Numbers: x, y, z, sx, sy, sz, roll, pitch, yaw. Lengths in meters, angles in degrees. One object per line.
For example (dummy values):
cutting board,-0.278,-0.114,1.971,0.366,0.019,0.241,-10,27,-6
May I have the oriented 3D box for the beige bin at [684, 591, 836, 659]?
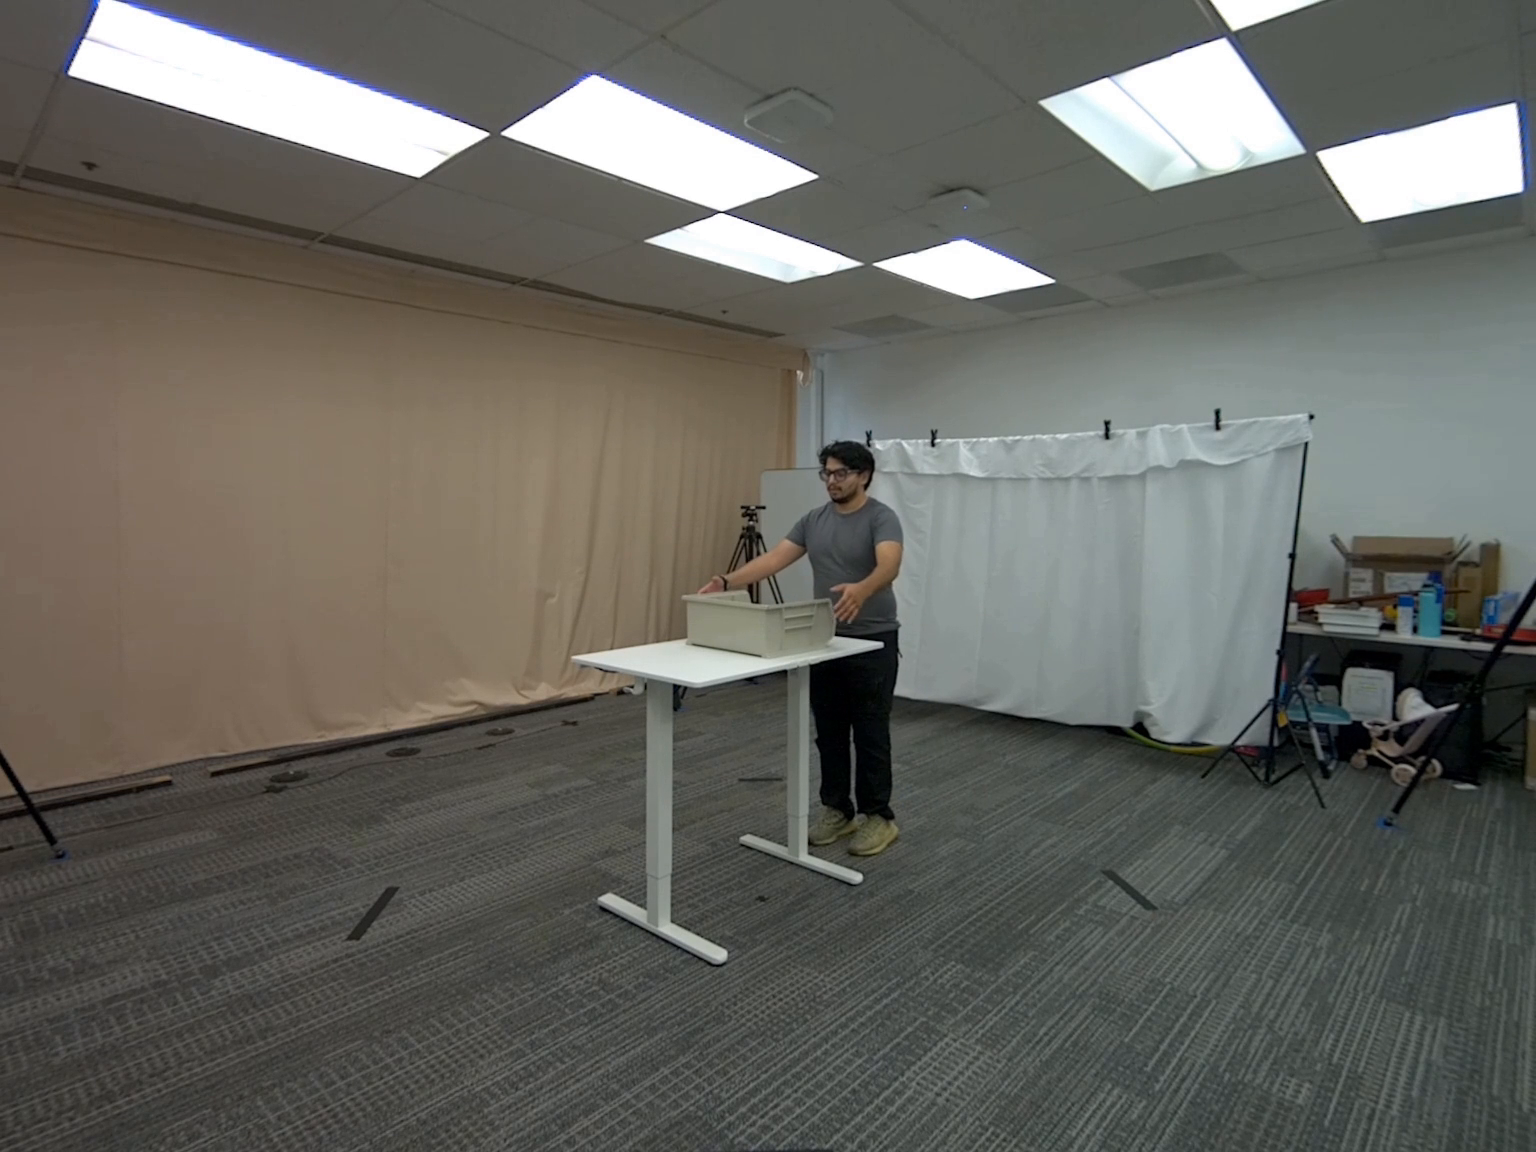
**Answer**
beige bin,-0.031,0.170,3.065,0.437,0.188,0.366,6,9,44
